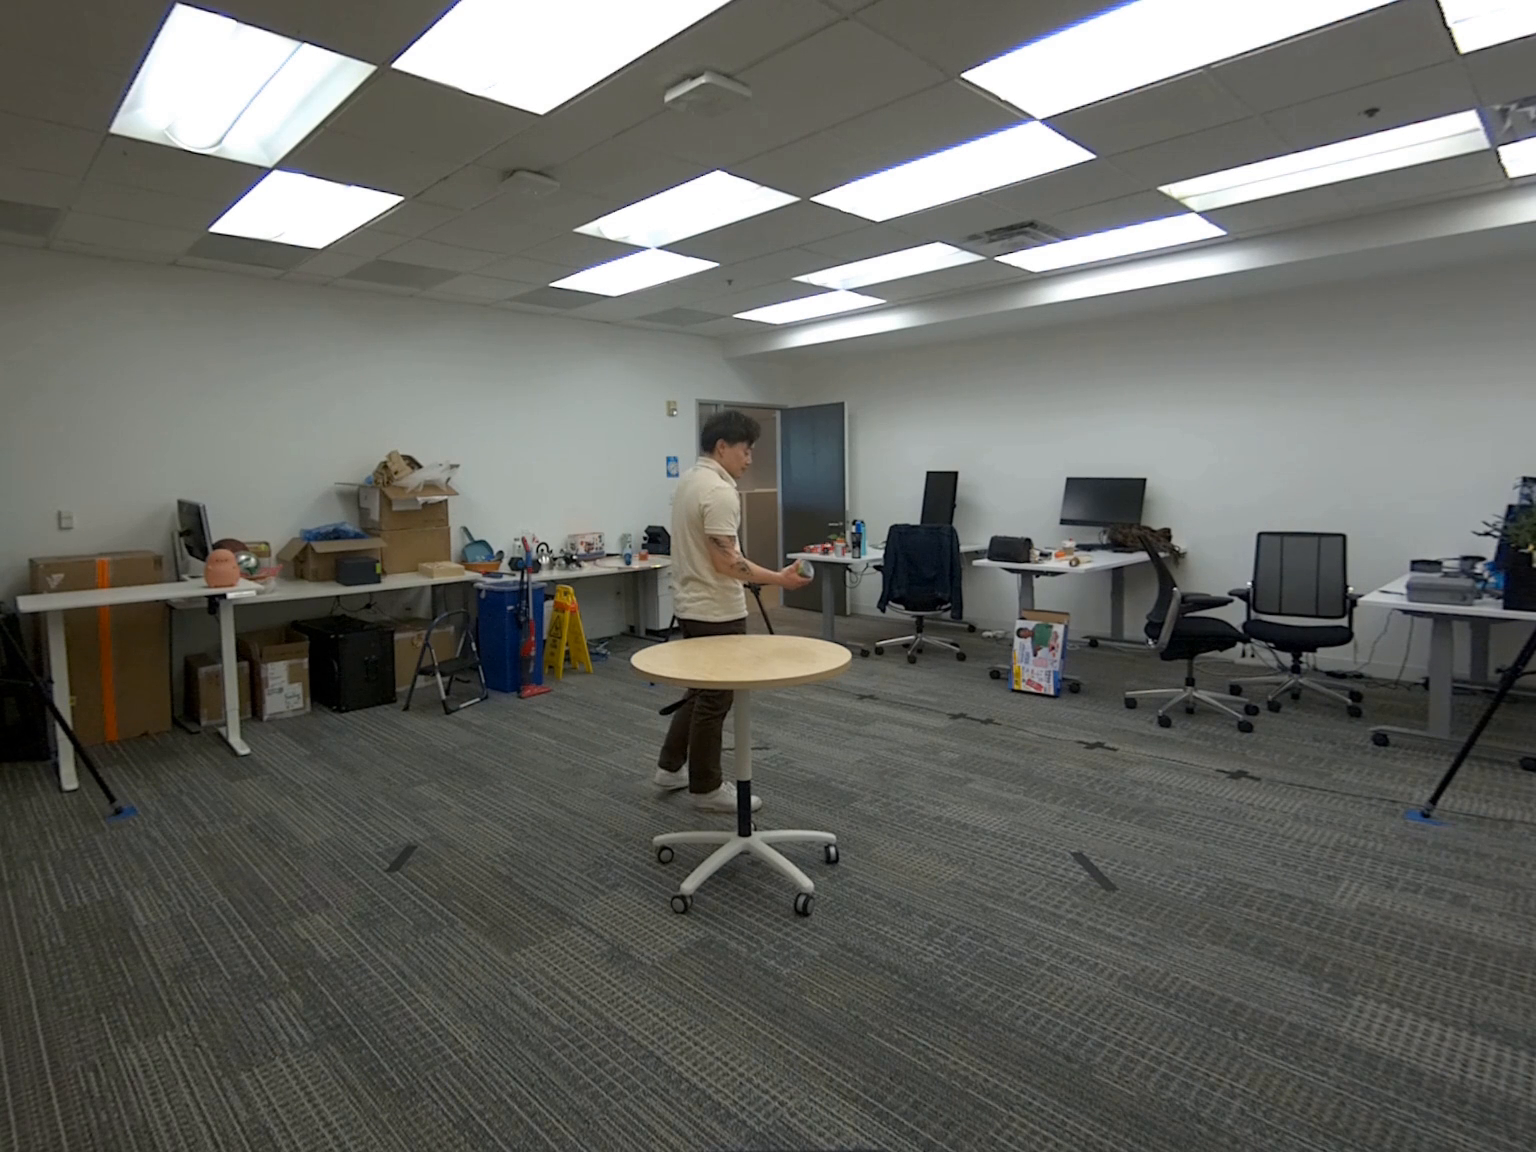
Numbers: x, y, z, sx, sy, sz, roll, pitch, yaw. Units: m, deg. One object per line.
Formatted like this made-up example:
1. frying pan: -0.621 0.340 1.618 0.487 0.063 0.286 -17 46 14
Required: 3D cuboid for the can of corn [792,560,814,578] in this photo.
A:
1. can of corn: 0.120 -0.019 3.433 0.113 0.075 0.072 -19 -6 32
